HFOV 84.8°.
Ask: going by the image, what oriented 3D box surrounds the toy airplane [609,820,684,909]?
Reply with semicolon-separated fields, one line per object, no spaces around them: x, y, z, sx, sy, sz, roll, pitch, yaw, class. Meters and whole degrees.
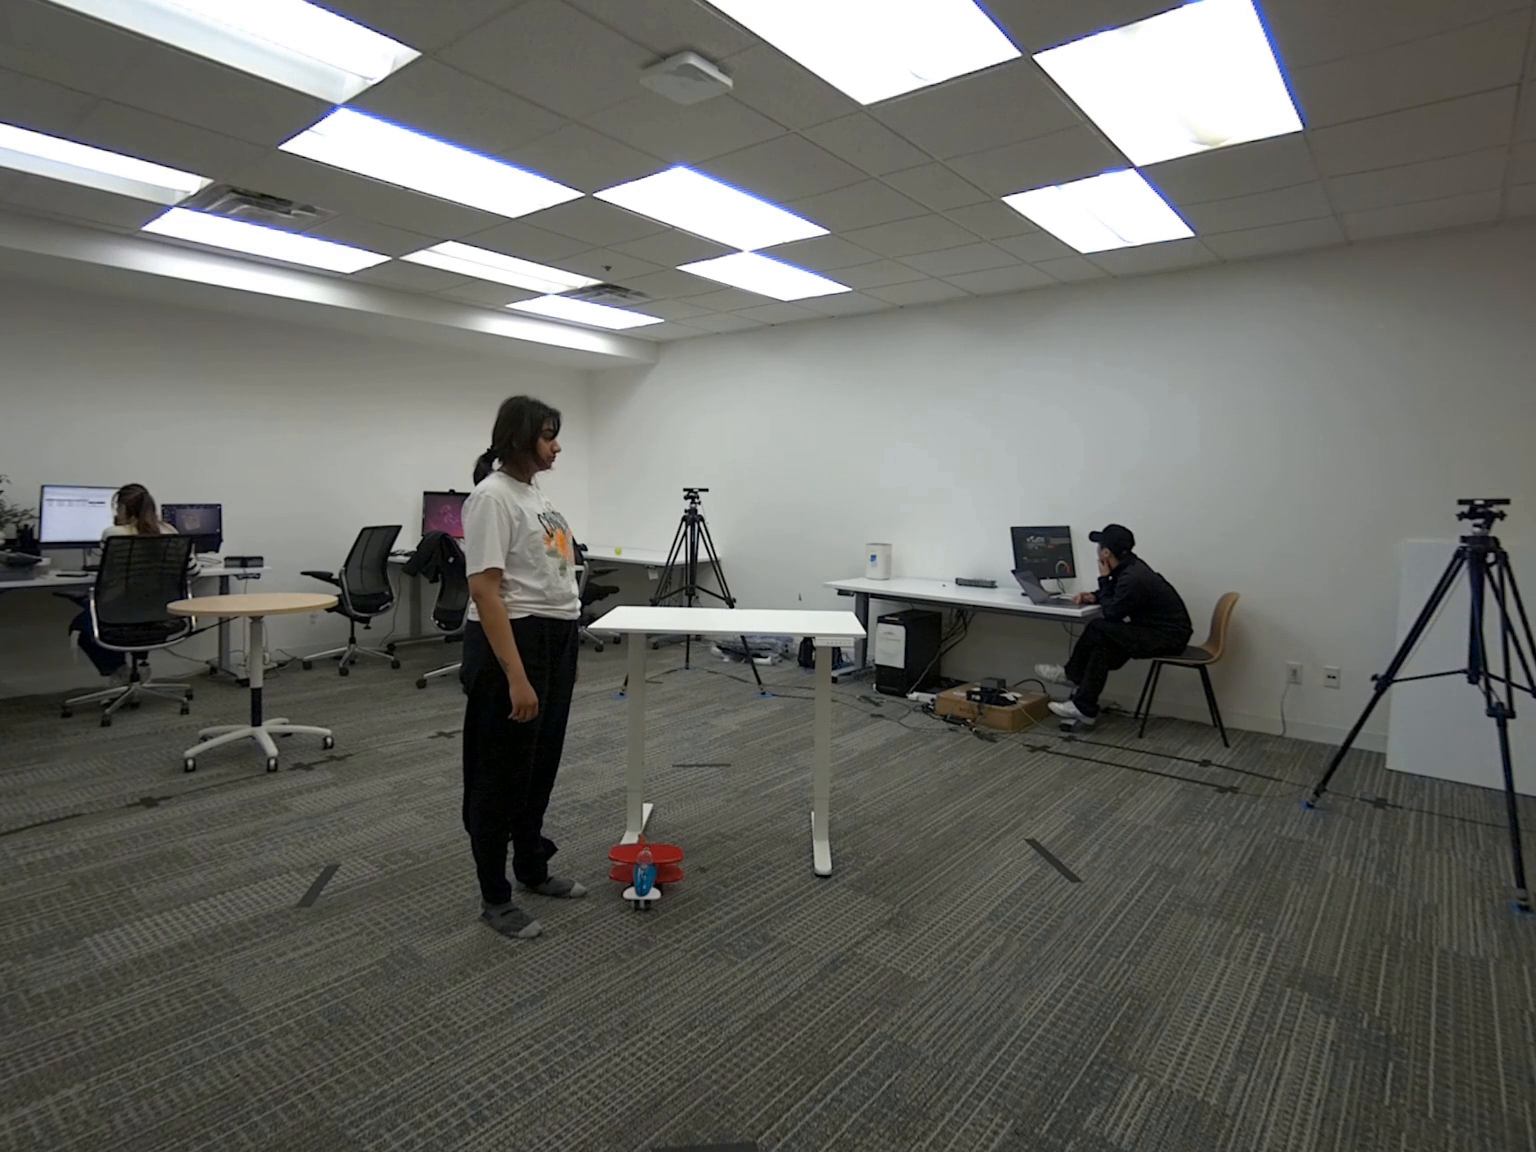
-0.406;1.029;2.892;0.244;0.155;0.268;-8;12;-35;toy airplane
